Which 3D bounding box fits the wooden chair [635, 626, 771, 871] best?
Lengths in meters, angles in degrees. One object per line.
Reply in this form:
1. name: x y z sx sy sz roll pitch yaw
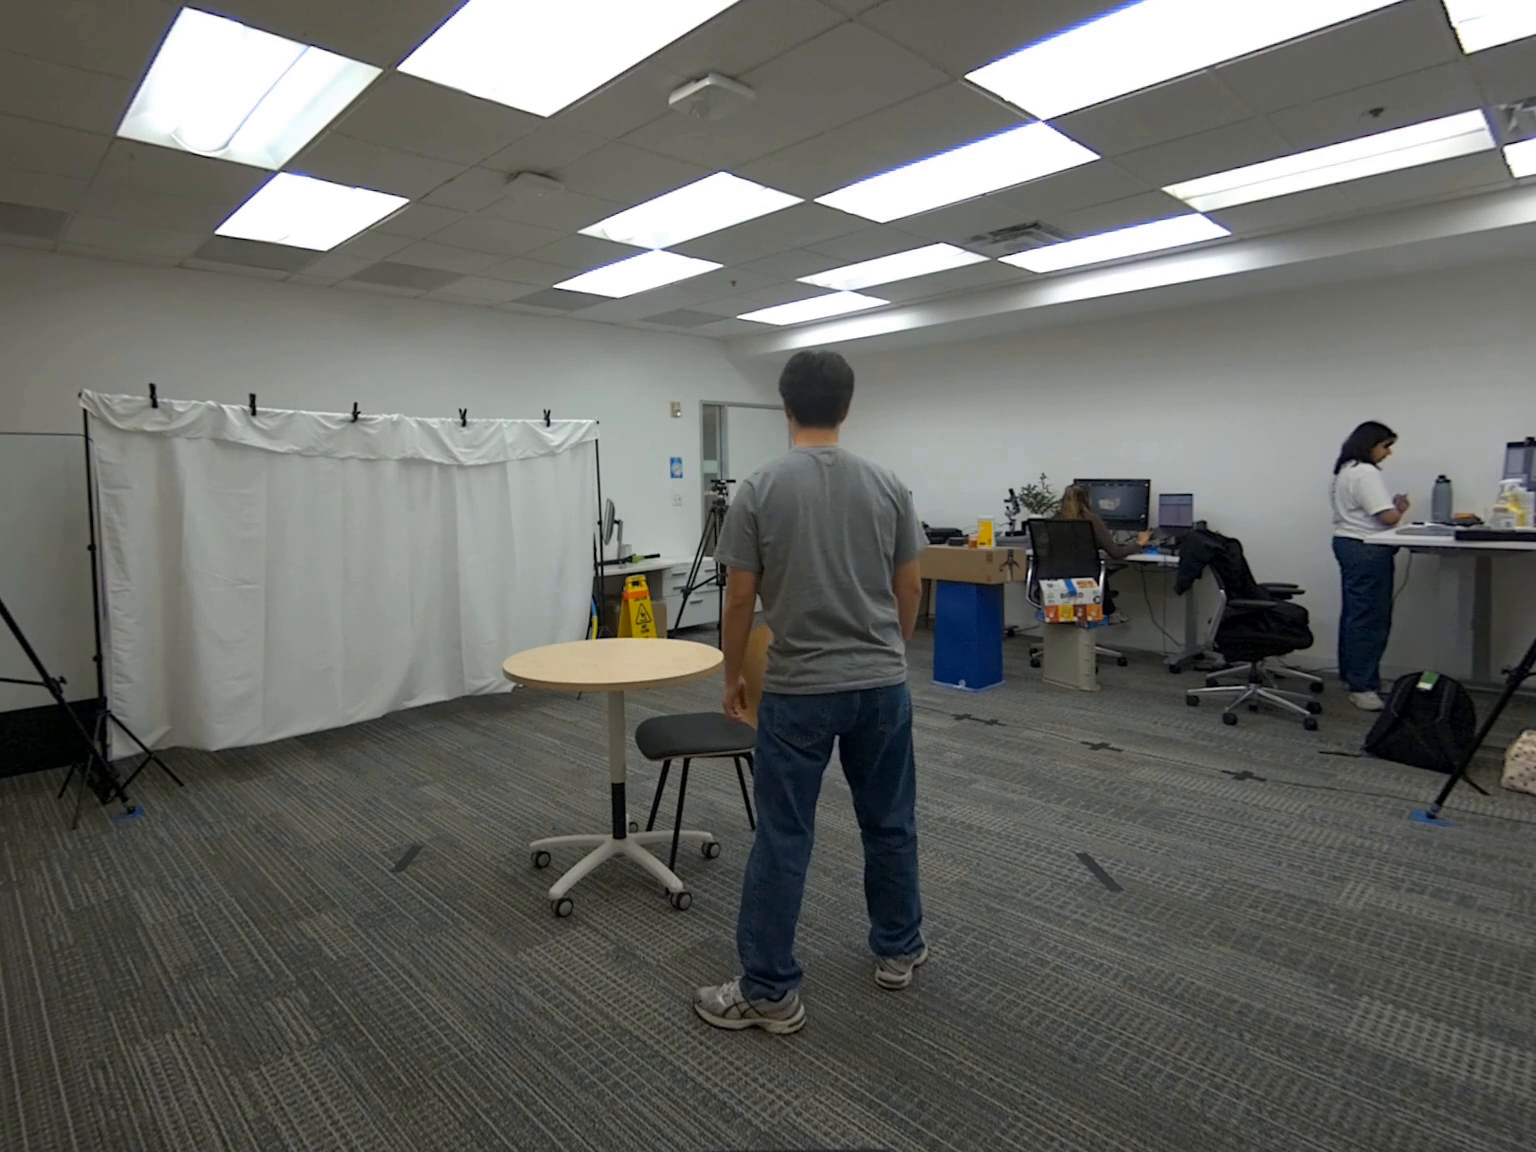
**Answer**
1. wooden chair: -0.209 0.619 3.115 0.515 0.875 0.487 3 3 -17
